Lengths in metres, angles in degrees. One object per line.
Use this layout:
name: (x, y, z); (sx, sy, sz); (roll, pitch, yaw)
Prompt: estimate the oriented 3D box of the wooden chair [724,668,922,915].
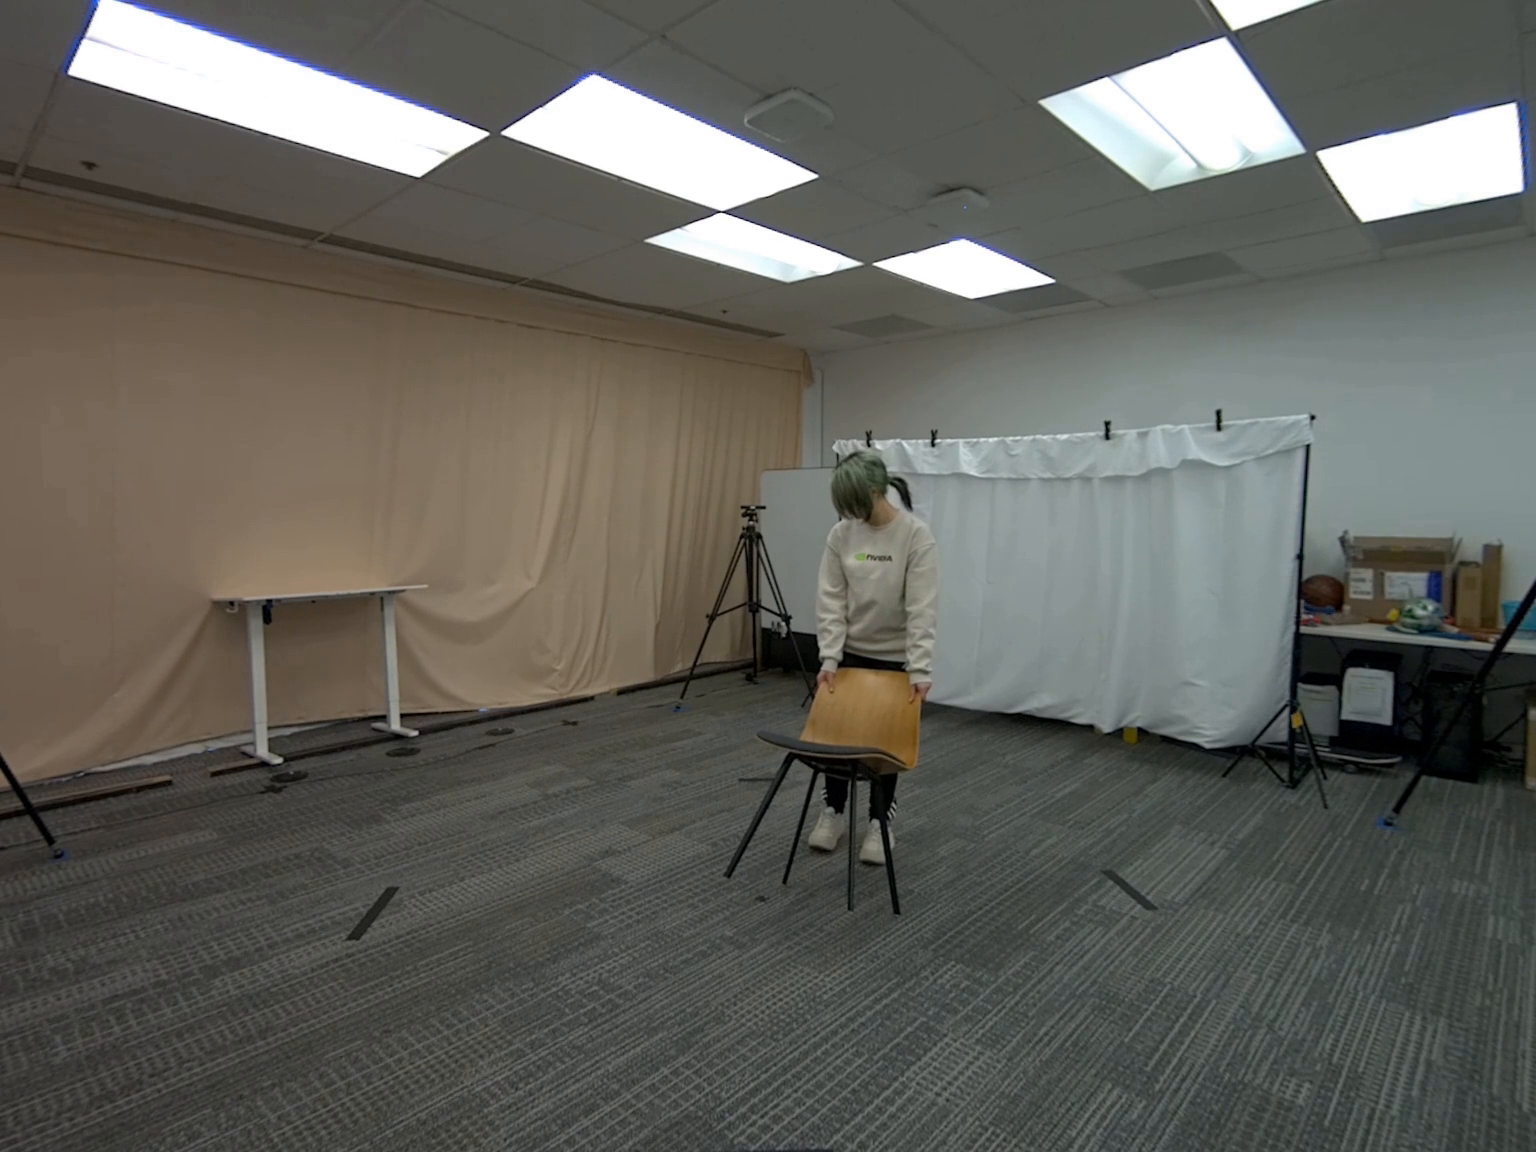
wooden chair: (0.232, 0.663, 2.910); (0.492, 0.883, 0.504); (2, -23, 31)
